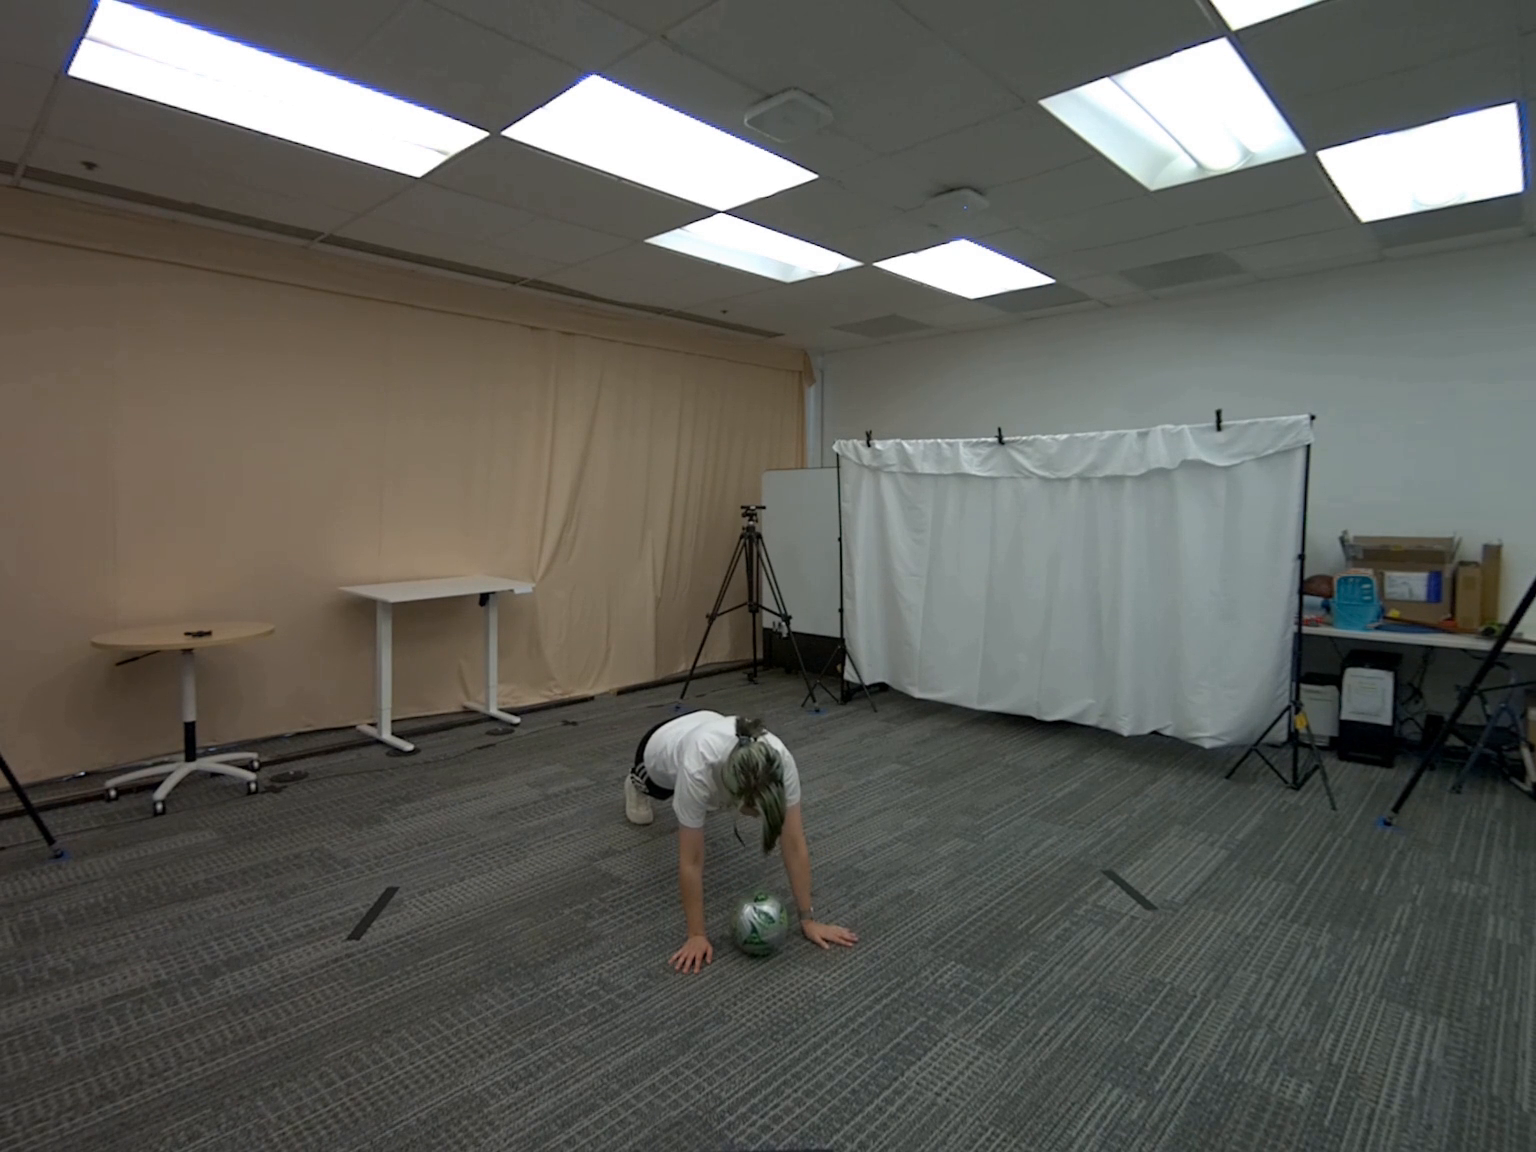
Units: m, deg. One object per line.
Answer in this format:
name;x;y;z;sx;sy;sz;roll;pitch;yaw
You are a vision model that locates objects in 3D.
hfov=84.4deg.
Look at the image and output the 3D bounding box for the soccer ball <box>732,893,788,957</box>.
soccer ball;-0.027;1.080;2.630;0.187;0.187;0.188;0;4;-2
